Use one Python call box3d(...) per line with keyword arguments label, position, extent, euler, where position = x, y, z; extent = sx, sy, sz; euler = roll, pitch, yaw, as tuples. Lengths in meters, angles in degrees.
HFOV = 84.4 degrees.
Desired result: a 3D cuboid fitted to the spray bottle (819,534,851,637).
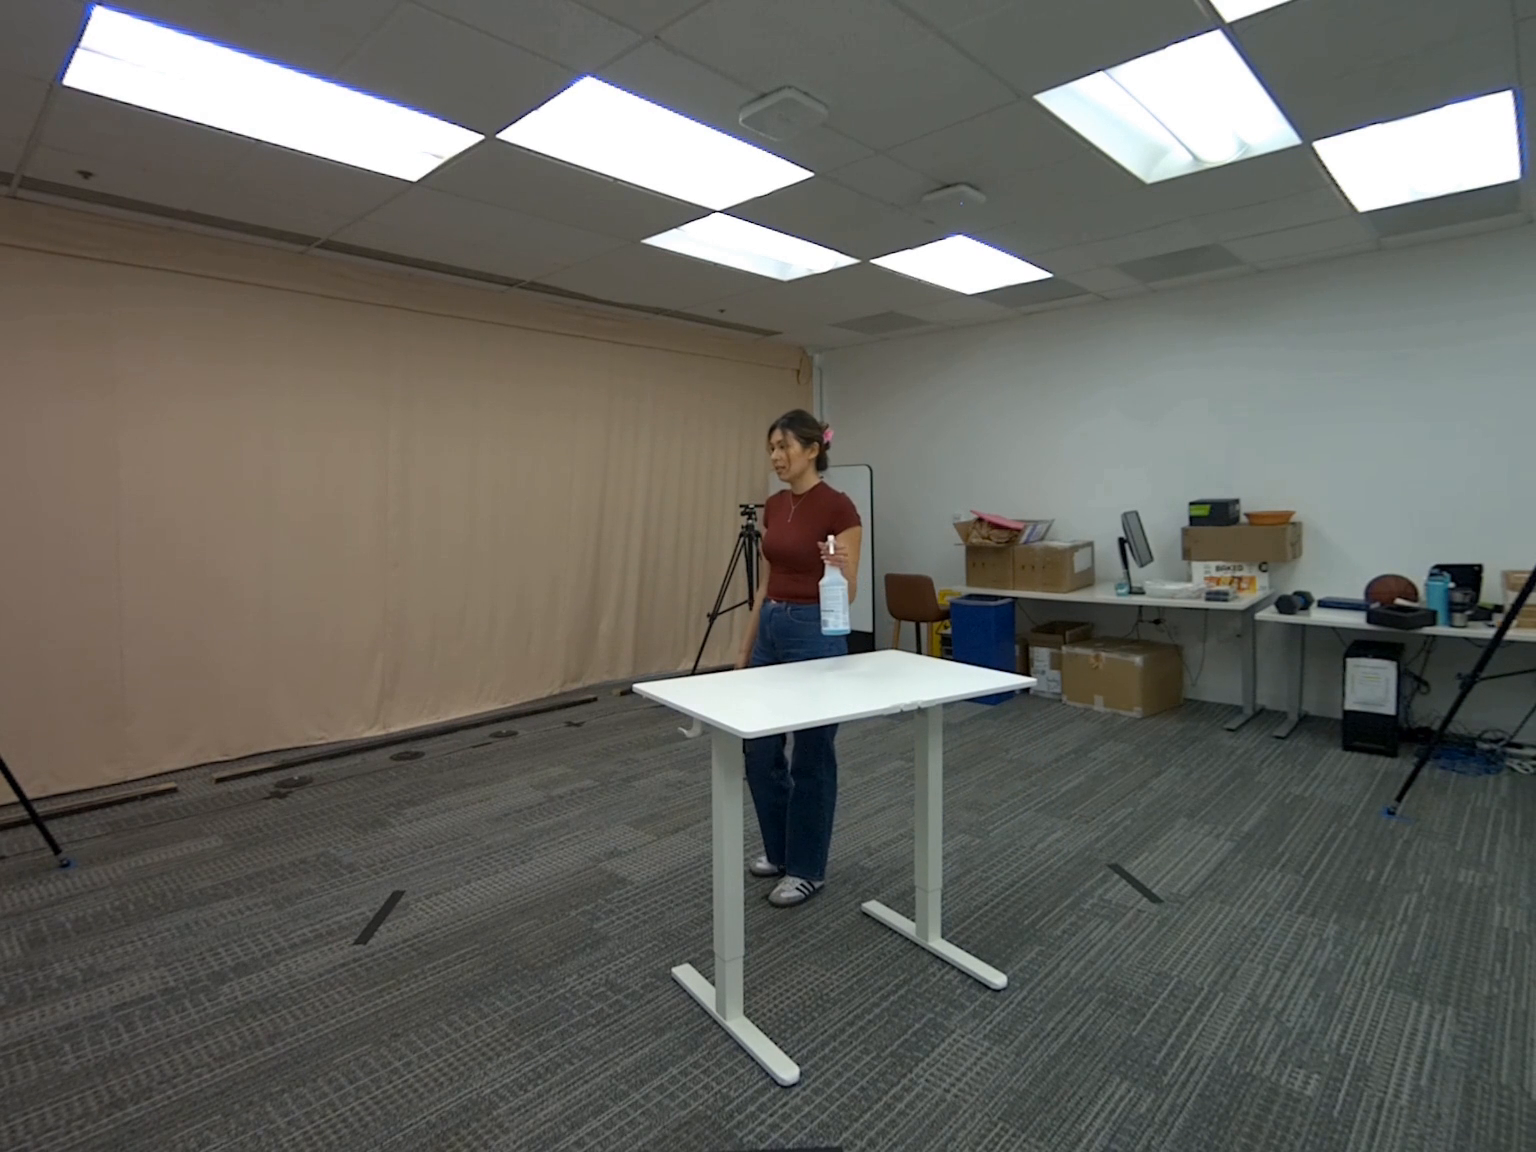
box3d(label="spray bottle", position=(0.194, 0.033, 2.553), extent=(0.089, 0.298, 0.087), euler=(-6, -2, 29))
